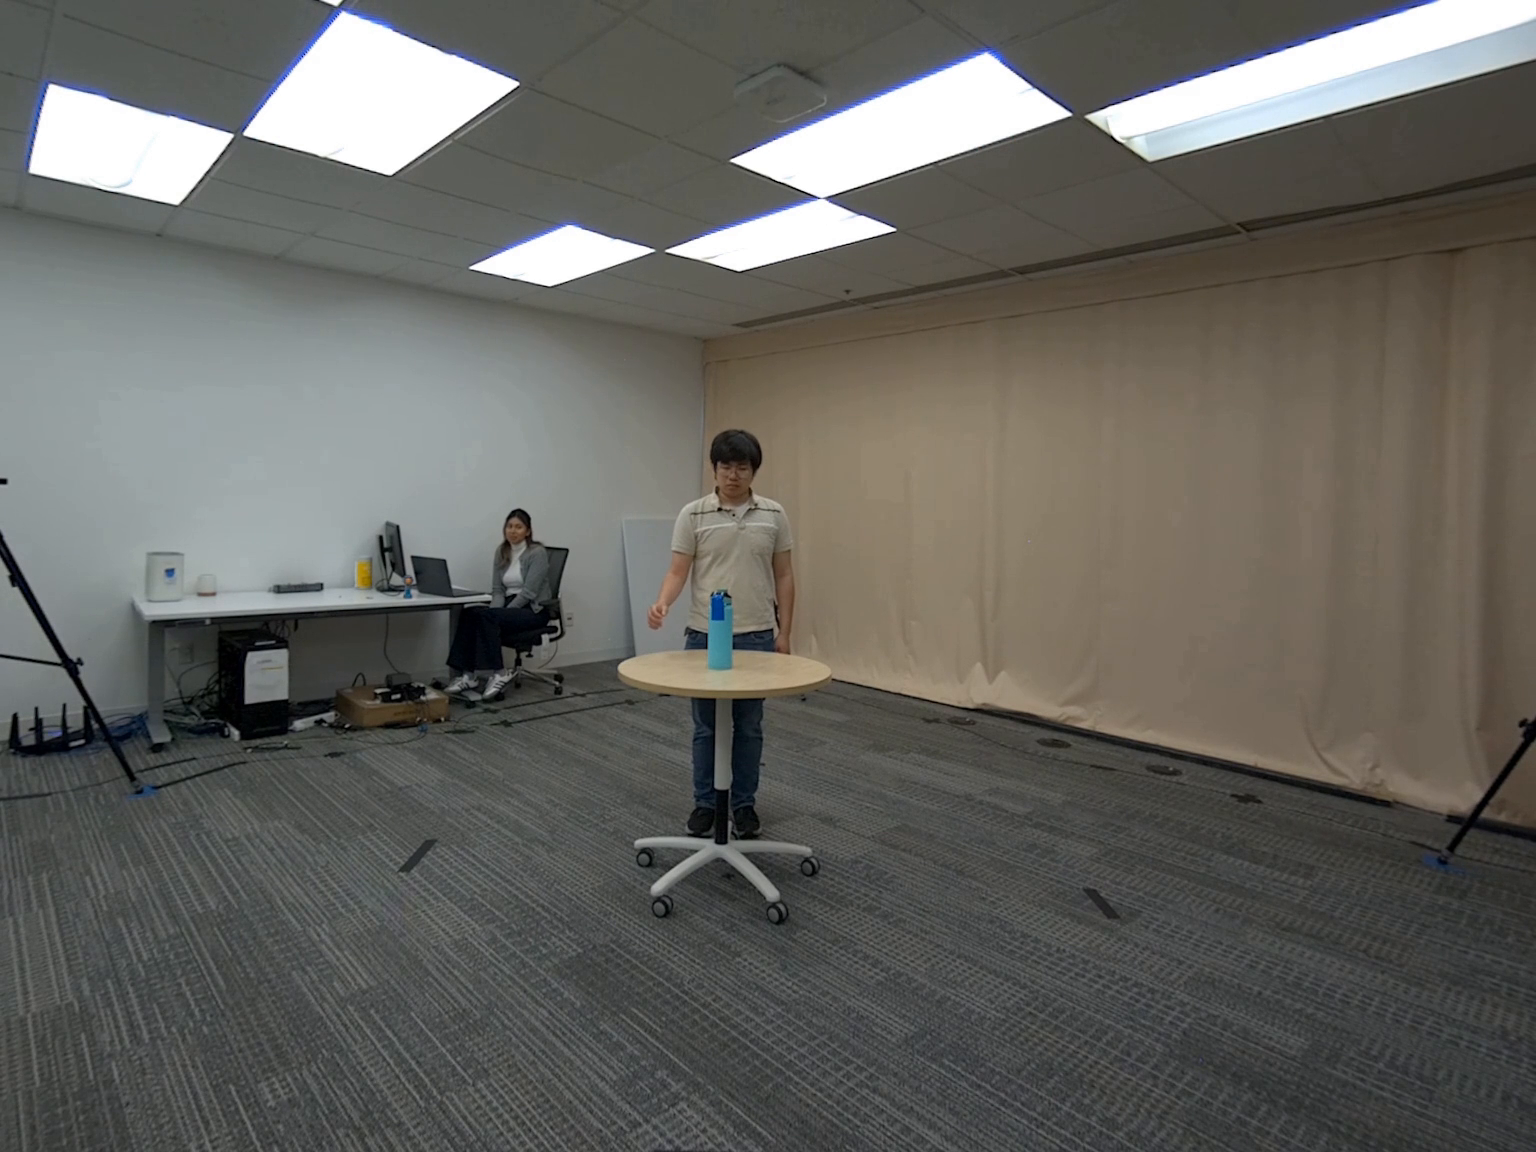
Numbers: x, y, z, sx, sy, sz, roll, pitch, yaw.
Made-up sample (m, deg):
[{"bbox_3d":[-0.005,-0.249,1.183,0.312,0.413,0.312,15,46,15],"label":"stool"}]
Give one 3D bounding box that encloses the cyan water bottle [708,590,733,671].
[{"bbox_3d":[-0.180,0.190,3.020,0.092,0.283,0.092,0,3,-1],"label":"cyan water bottle"}]
